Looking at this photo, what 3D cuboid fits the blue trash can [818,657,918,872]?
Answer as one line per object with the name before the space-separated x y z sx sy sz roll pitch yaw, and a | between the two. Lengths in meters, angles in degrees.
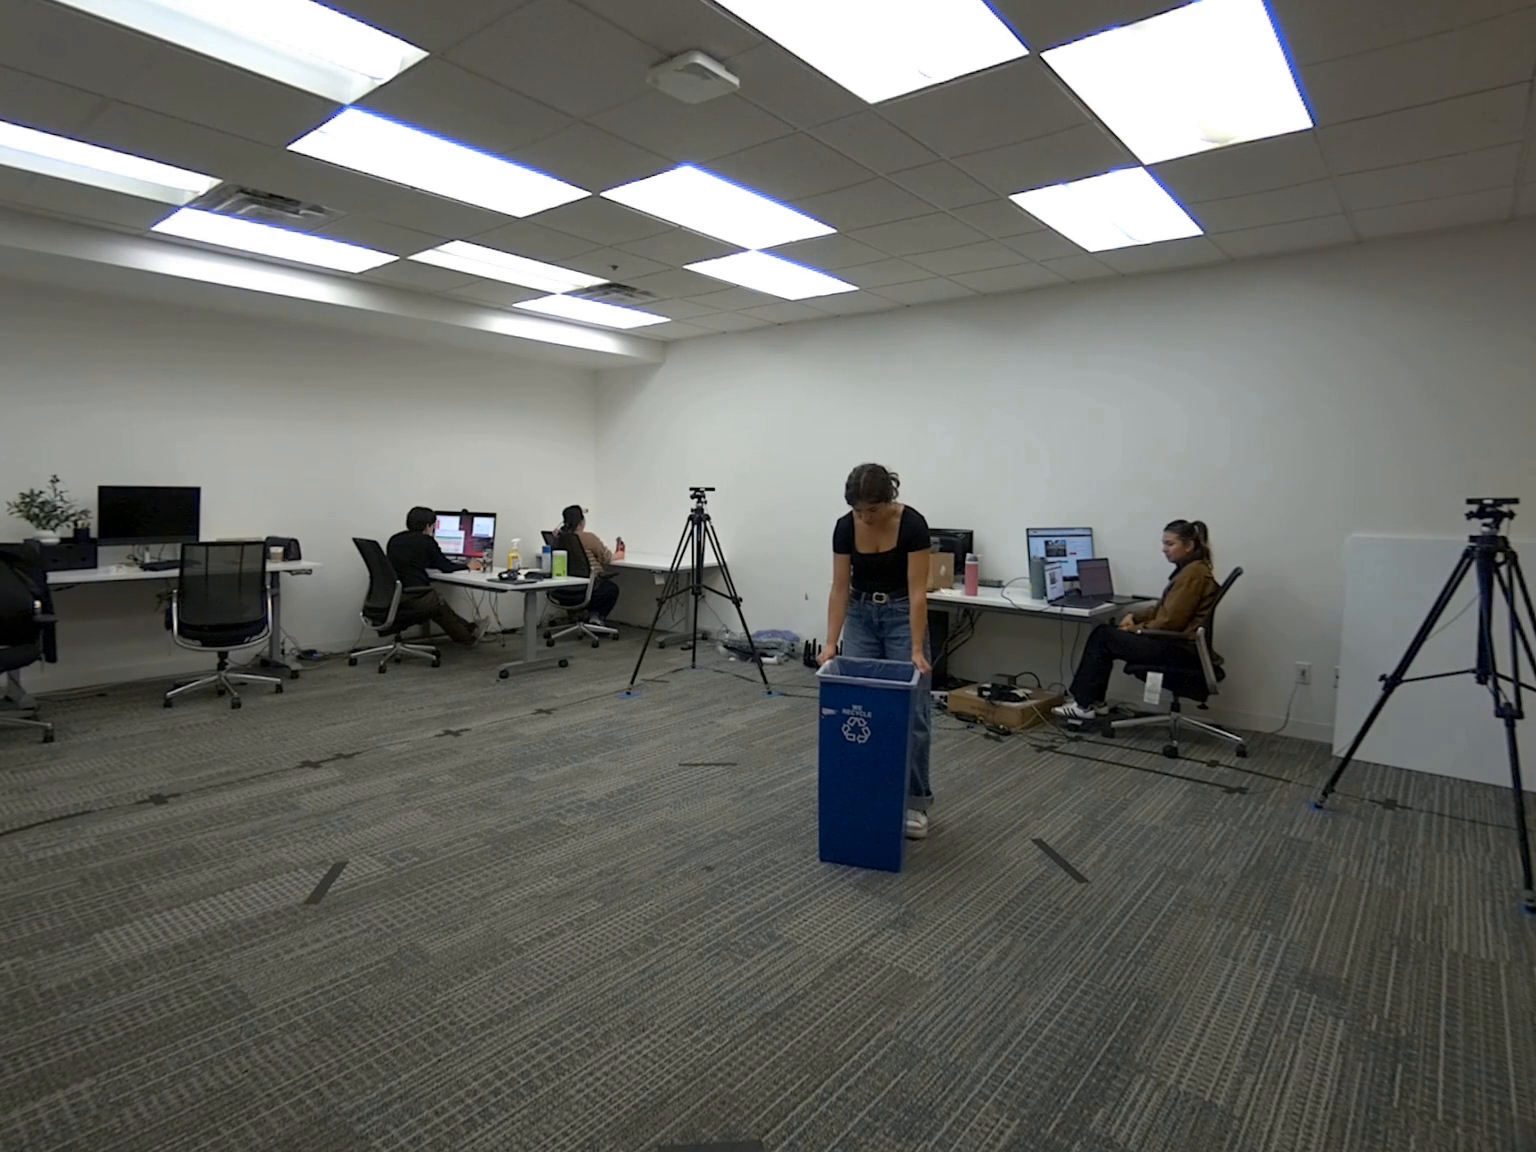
blue trash can | 0.373 0.703 3.272 0.381 0.711 0.373 2 4 15
